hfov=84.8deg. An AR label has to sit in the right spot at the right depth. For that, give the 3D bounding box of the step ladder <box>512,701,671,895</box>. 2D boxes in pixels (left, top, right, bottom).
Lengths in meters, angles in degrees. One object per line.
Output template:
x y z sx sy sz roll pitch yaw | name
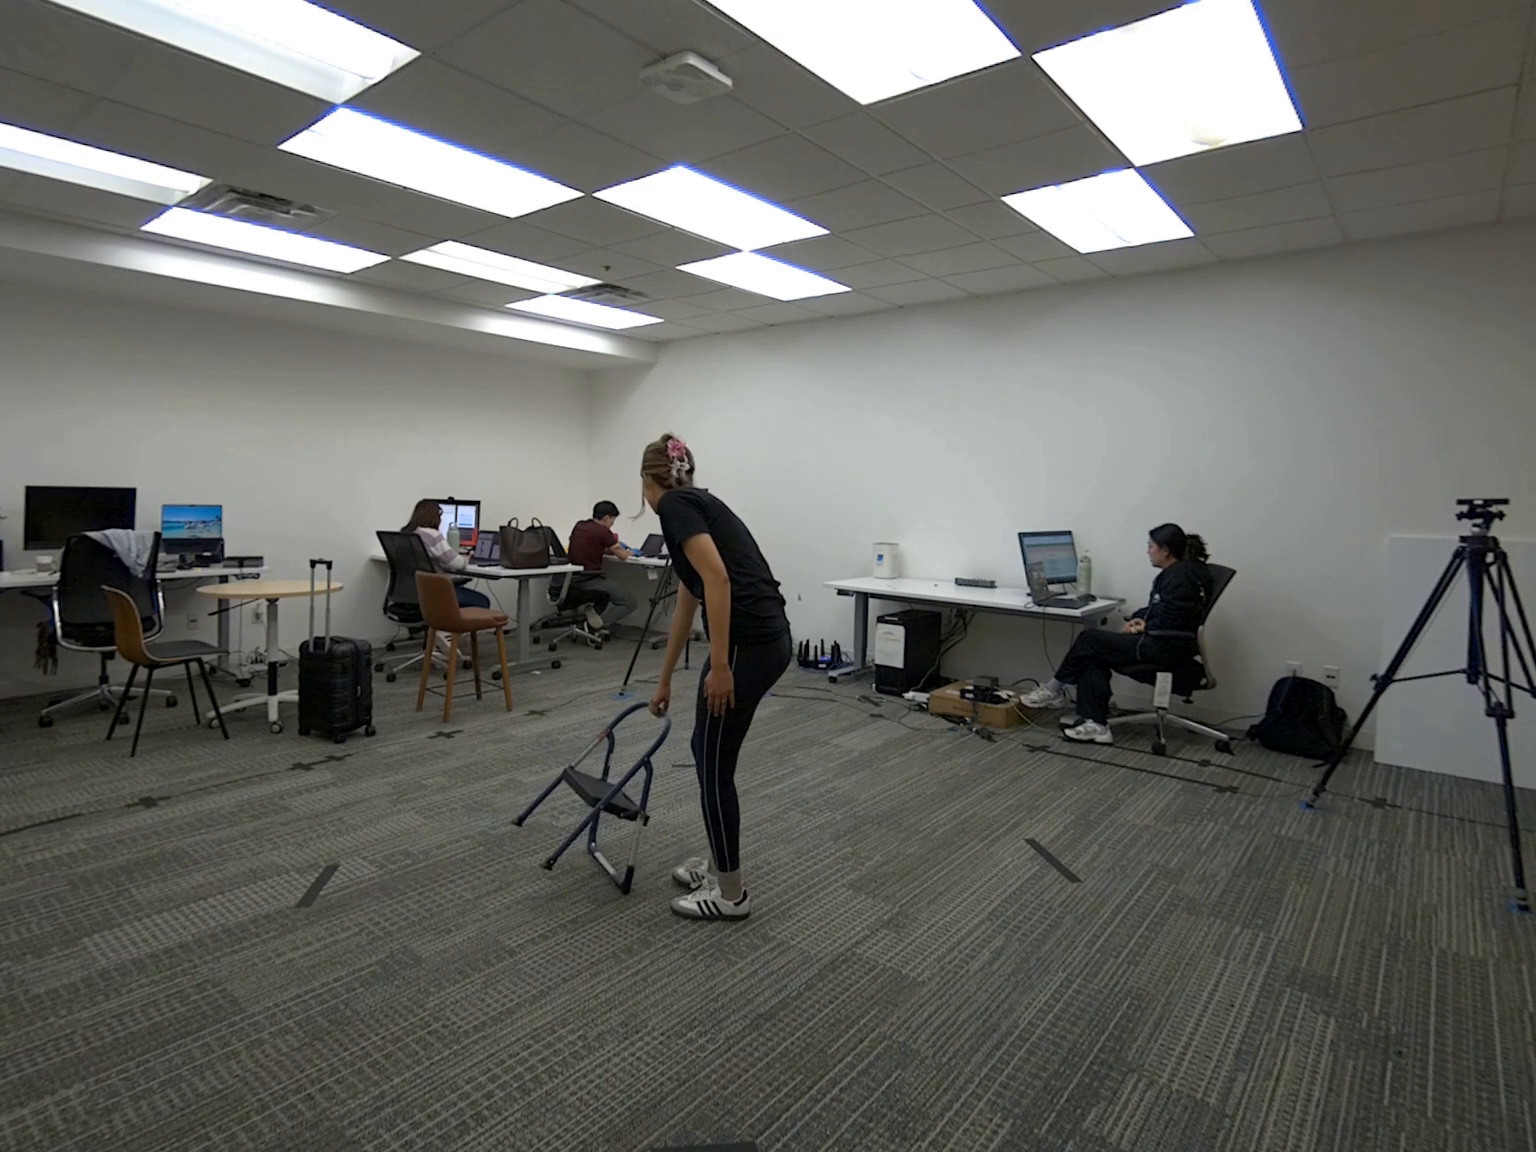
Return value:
-0.592 0.725 3.064 0.338 0.608 0.443 29 -10 -28 | step ladder
